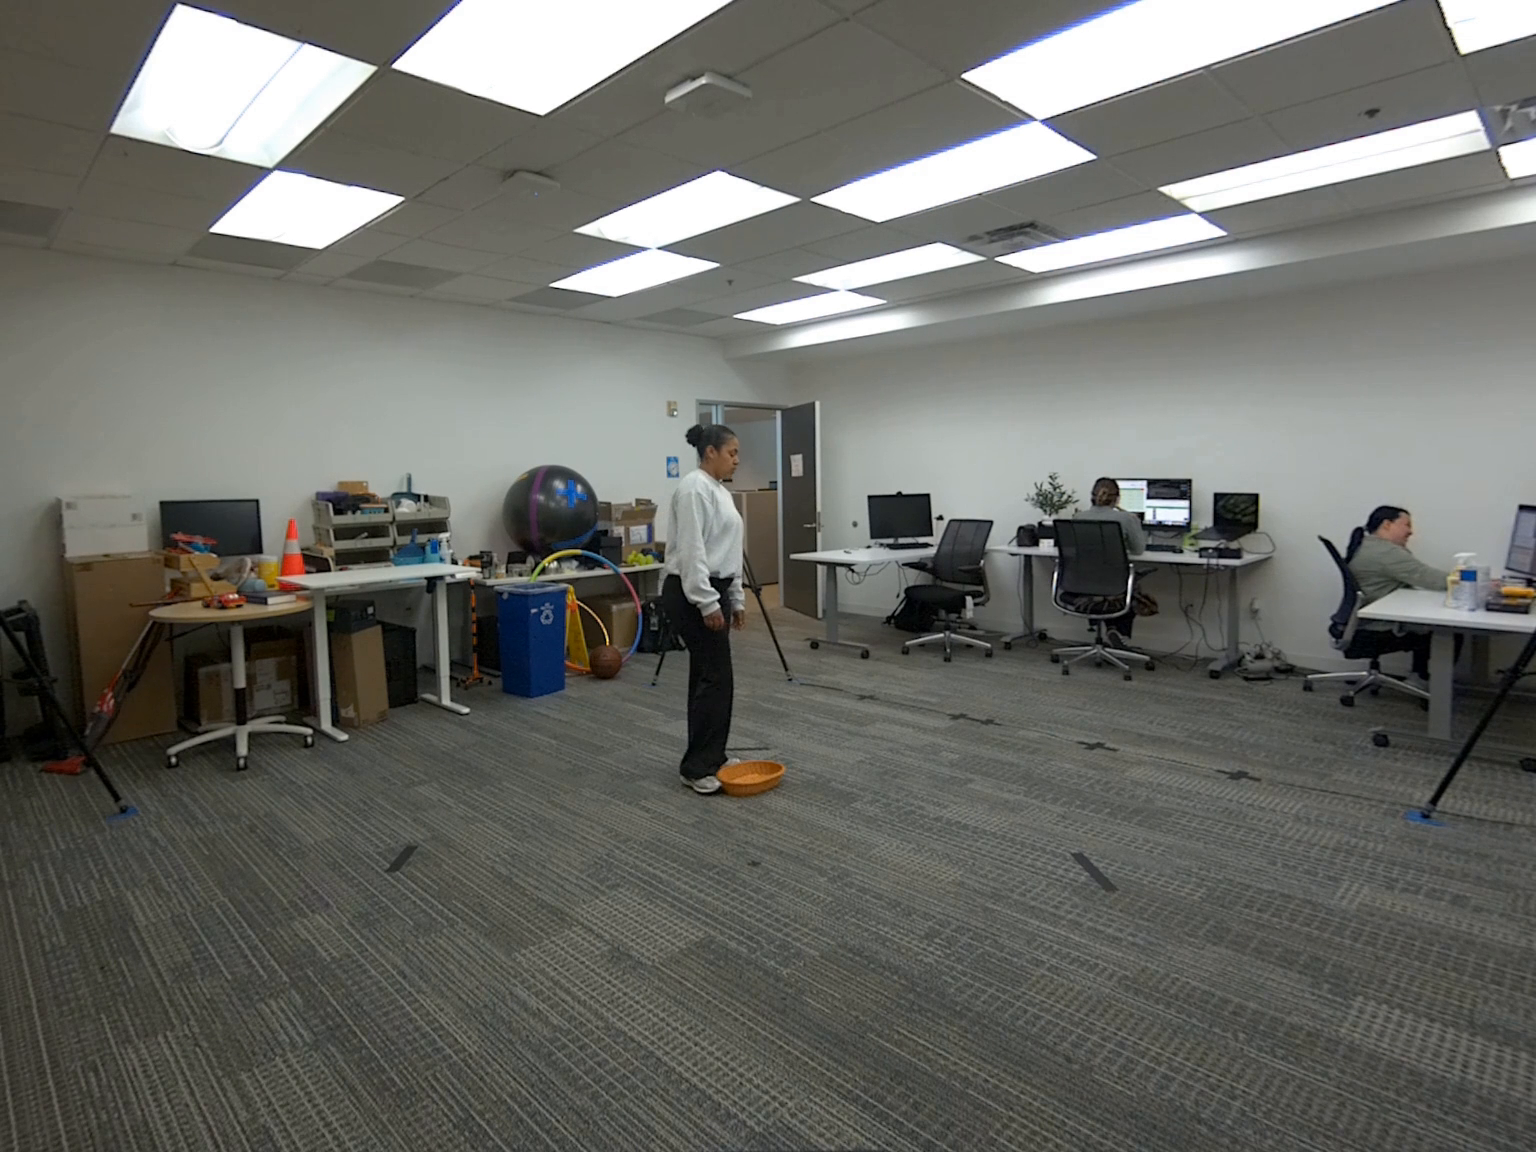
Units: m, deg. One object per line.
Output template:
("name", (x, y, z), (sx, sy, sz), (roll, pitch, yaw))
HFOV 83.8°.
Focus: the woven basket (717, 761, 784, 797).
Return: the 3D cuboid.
("woven basket", (-0.077, 0.916, 3.878), (0.260, 0.073, 0.341), (5, 9, 43))
